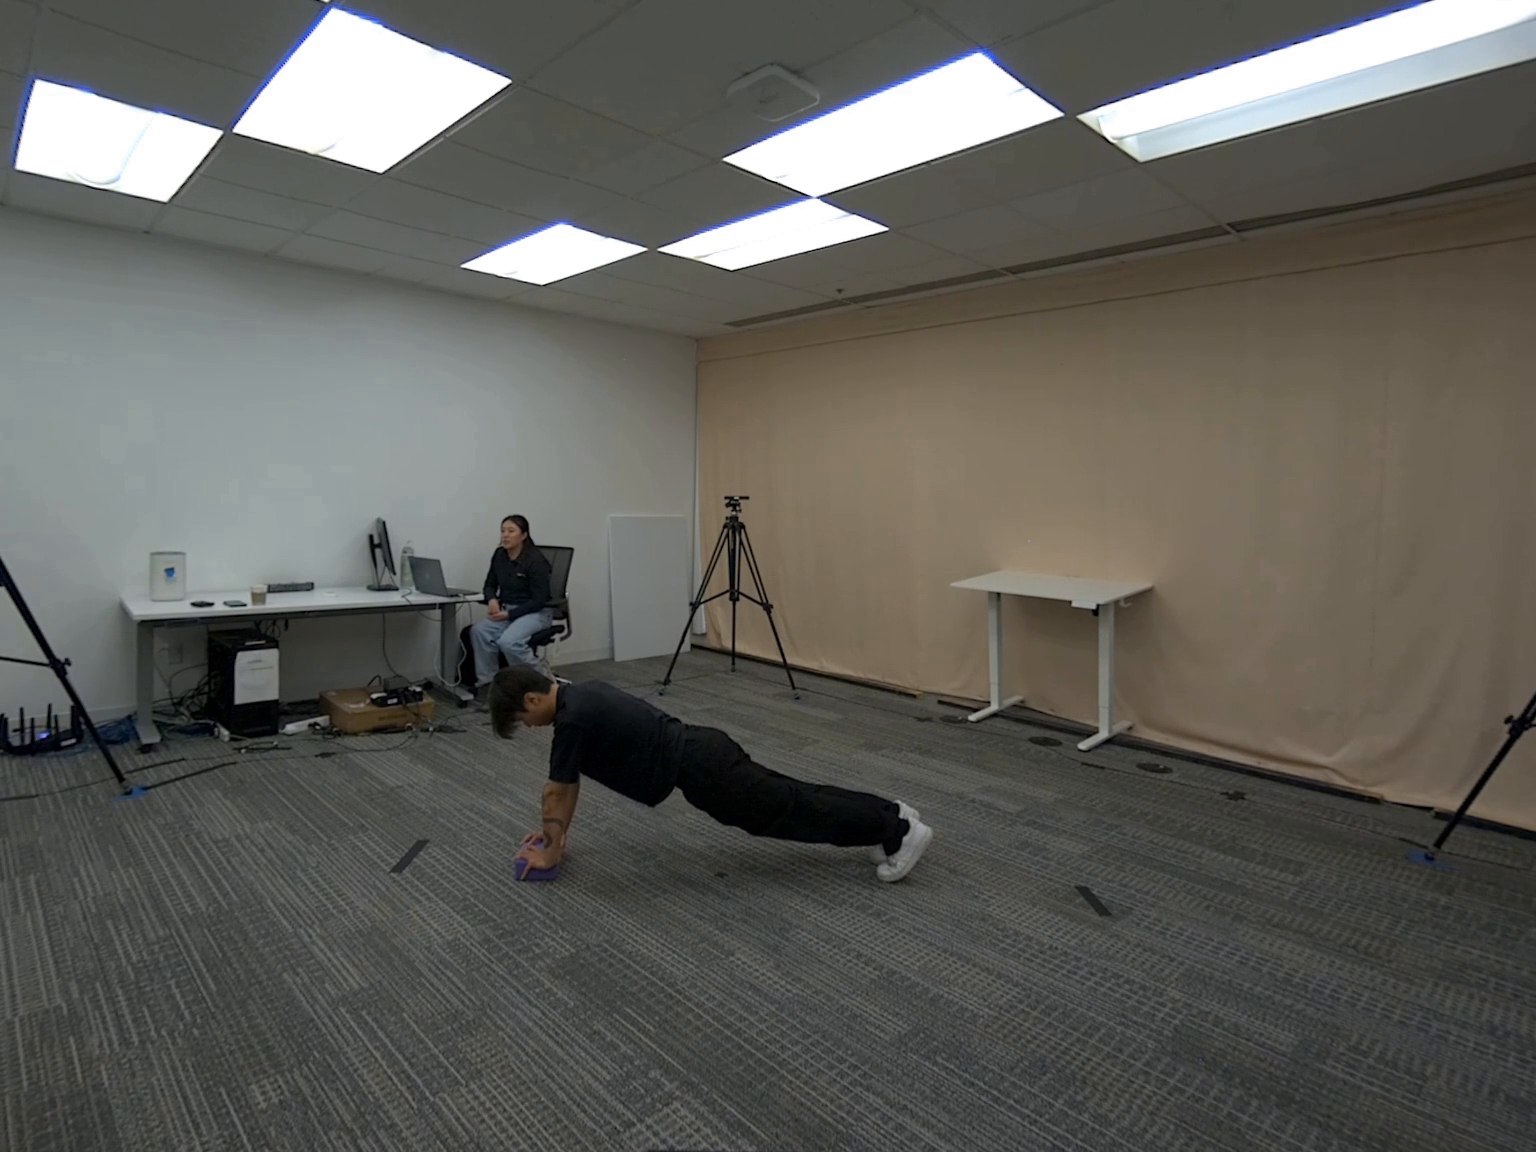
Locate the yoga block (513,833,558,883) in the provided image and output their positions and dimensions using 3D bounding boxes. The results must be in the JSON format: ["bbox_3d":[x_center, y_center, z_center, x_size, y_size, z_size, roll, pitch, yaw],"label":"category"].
[{"bbox_3d":[-0.851,1.040,3.135,0.148,0.076,0.231,0,7,-7],"label":"yoga block"}]
